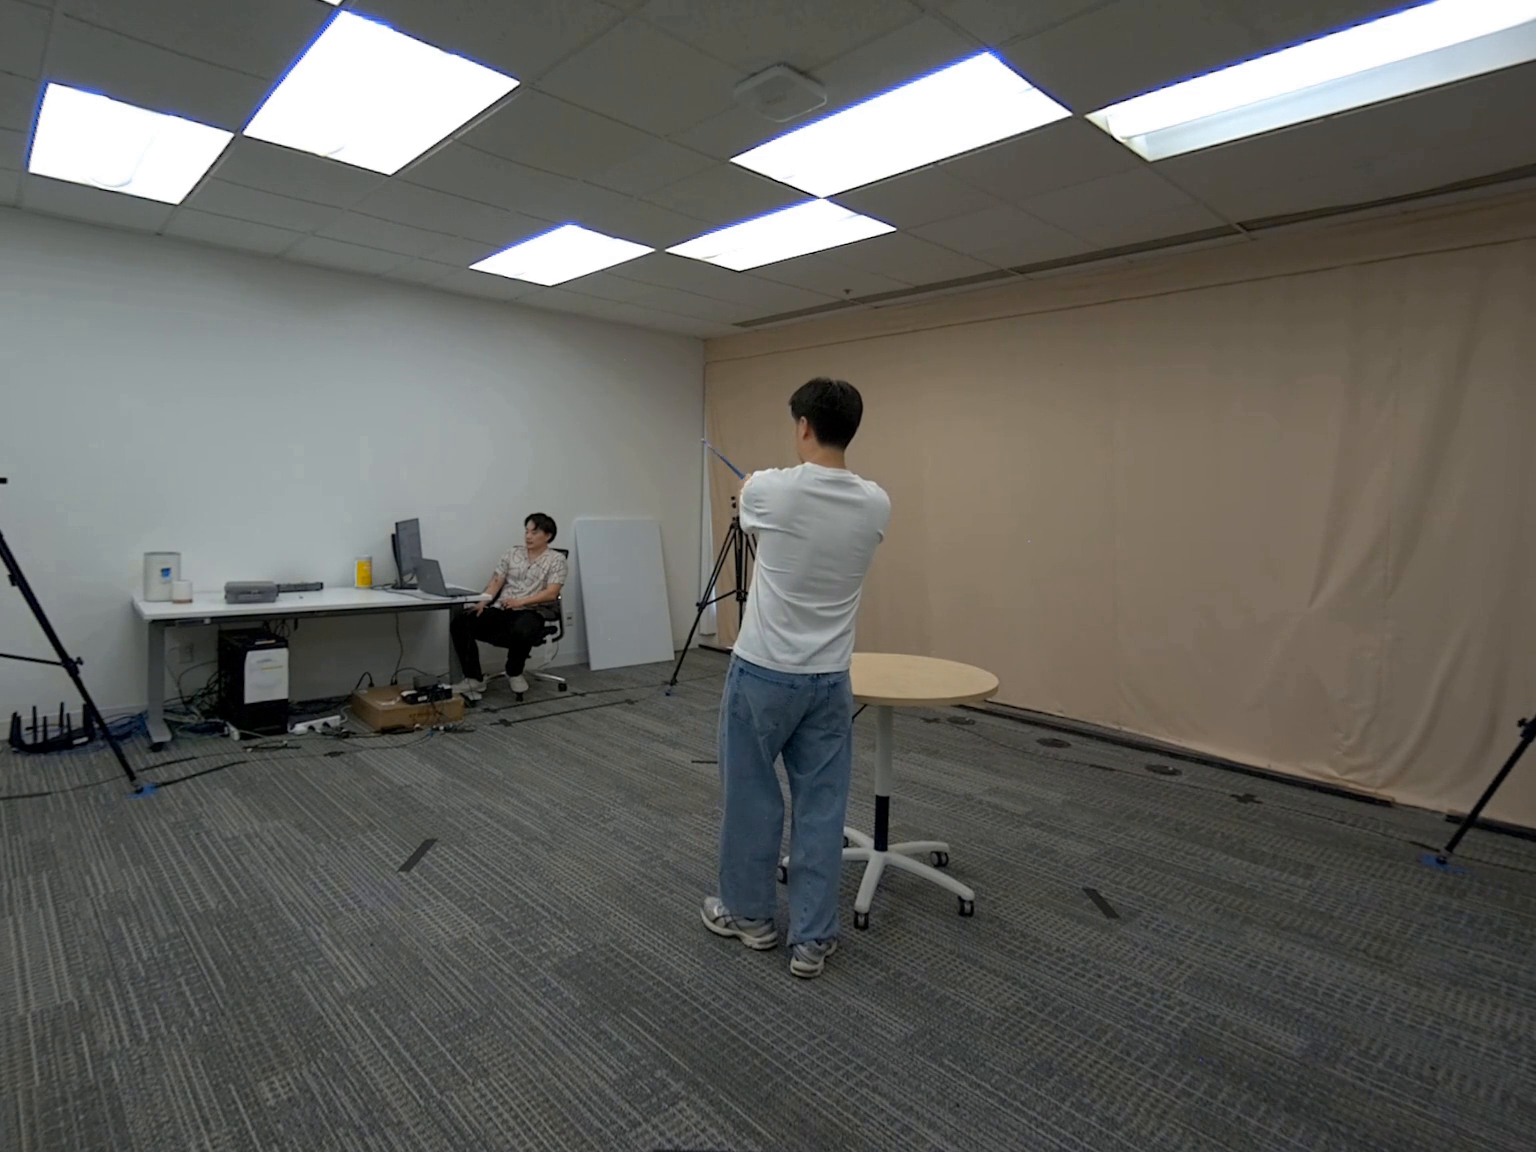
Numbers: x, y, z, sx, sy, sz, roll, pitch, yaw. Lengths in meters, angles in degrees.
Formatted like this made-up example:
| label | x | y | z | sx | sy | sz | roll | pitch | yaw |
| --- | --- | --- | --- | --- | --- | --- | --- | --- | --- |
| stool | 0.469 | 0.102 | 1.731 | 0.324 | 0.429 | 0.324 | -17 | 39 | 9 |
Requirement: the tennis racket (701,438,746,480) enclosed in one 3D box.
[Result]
| label | x | y | z | sx | sy | sz | roll | pitch | yaw |
| --- | --- | --- | --- | --- | --- | --- | --- | --- | --- |
| tennis racket | -0.143 | -0.407 | 3.173 | 0.207 | 0.032 | 0.447 | 39 | 5 | -45 |
